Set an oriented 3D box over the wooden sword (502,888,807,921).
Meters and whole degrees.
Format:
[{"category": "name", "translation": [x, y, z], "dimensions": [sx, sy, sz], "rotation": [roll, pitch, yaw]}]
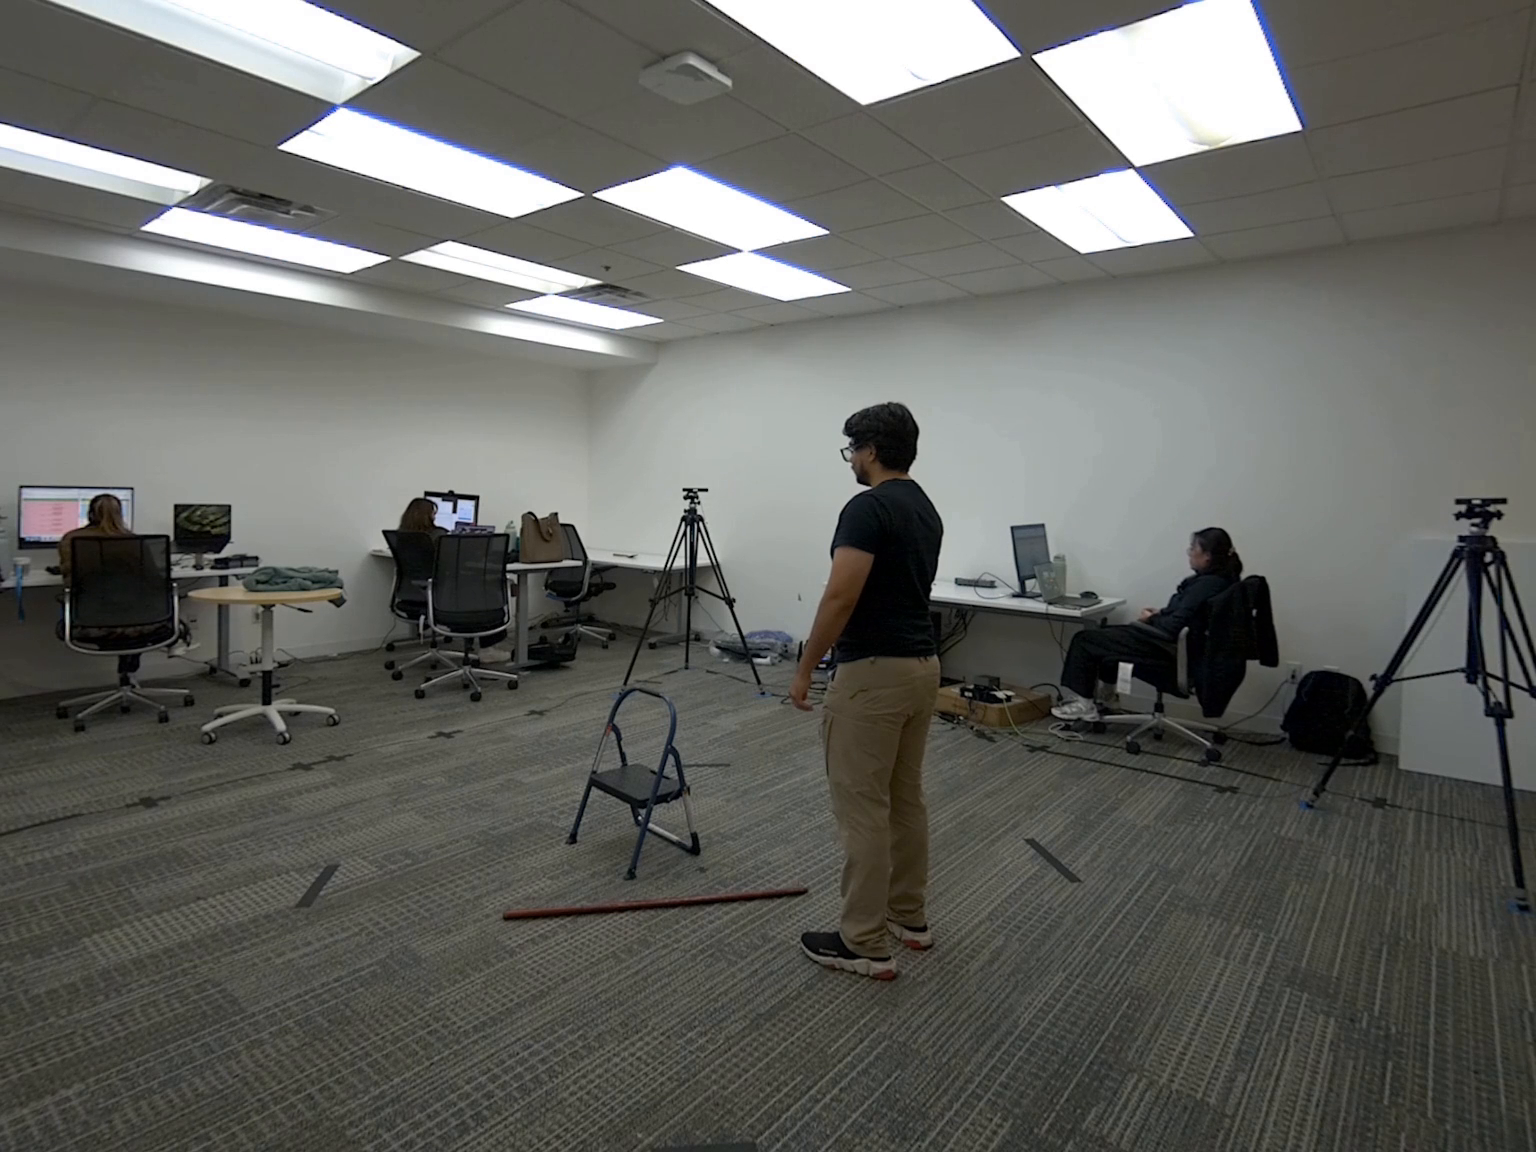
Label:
[{"category": "wooden sword", "translation": [-0.357, 1.069, 2.828], "dimensions": [1.011, 0.023, 0.053], "rotation": [0, 36, -12]}]
